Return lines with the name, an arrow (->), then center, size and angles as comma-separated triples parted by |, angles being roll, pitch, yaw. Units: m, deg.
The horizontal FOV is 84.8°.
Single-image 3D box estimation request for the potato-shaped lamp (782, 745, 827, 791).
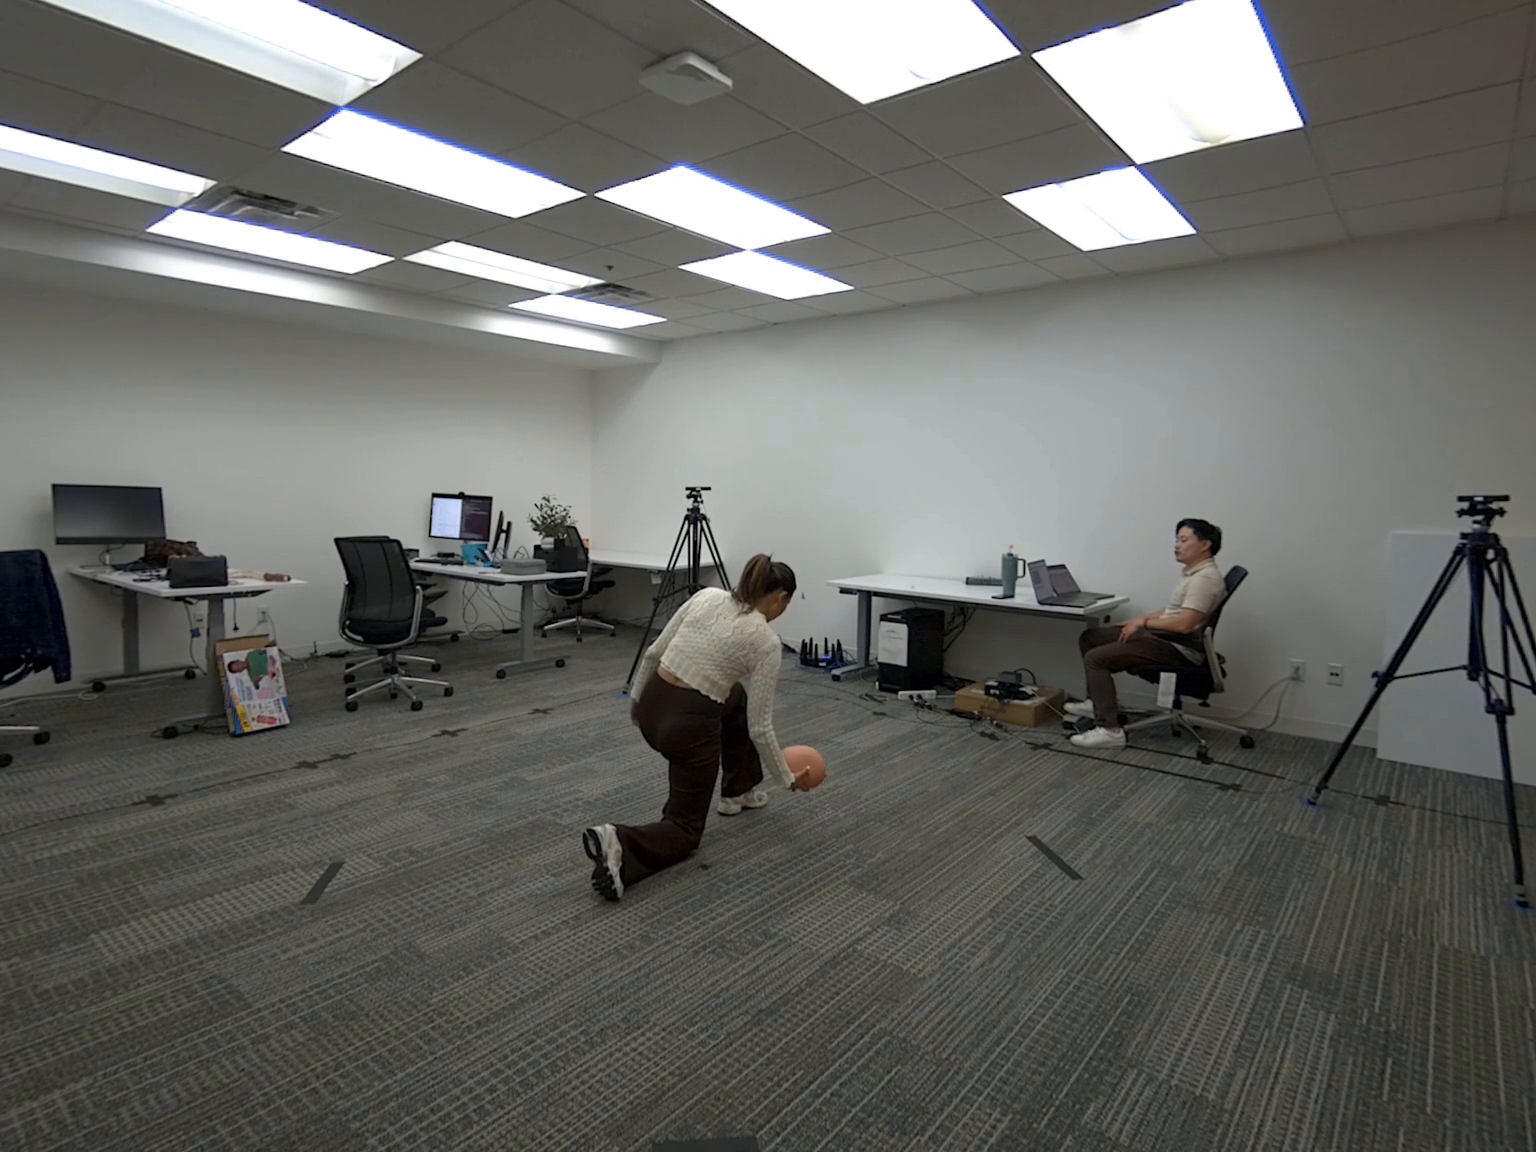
potato-shaped lamp -> 0.116, 0.771, 3.414 | 0.191, 0.163, 0.179 | 6, 29, -39
